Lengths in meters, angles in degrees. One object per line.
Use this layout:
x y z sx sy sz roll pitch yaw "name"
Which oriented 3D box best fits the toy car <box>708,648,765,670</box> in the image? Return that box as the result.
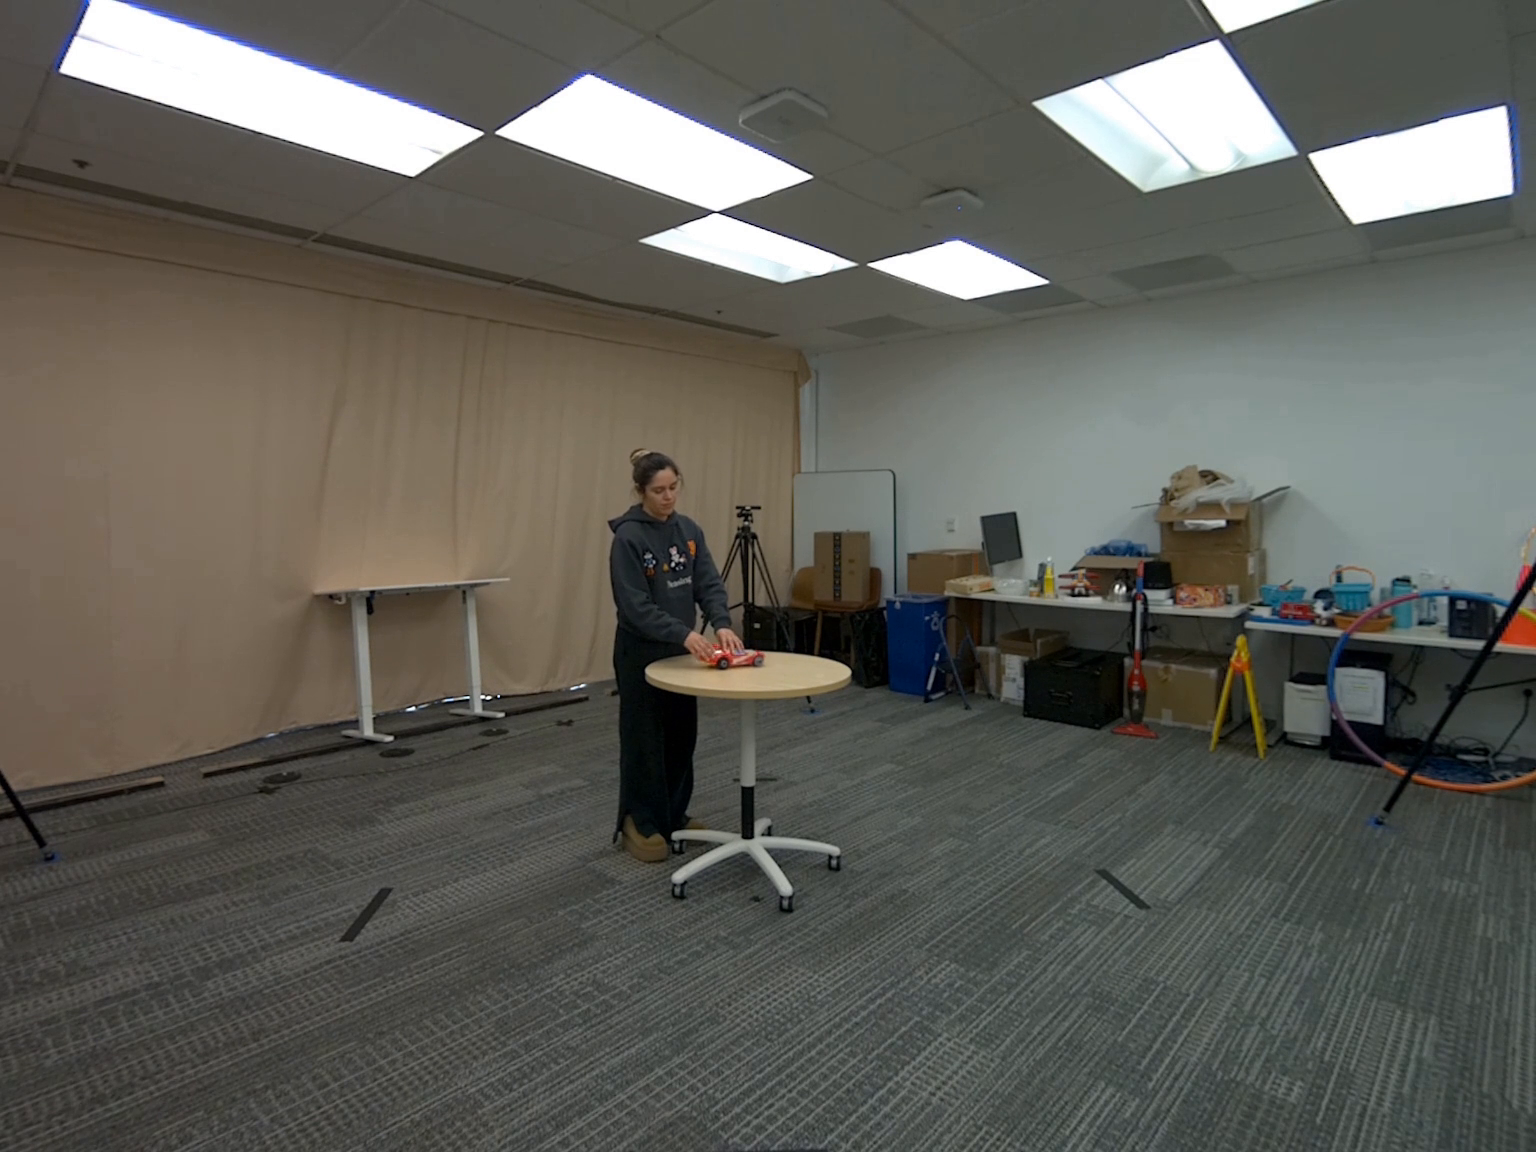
-0.124 0.313 3.195 0.249 0.083 0.133 8 0 -22 "toy car"
